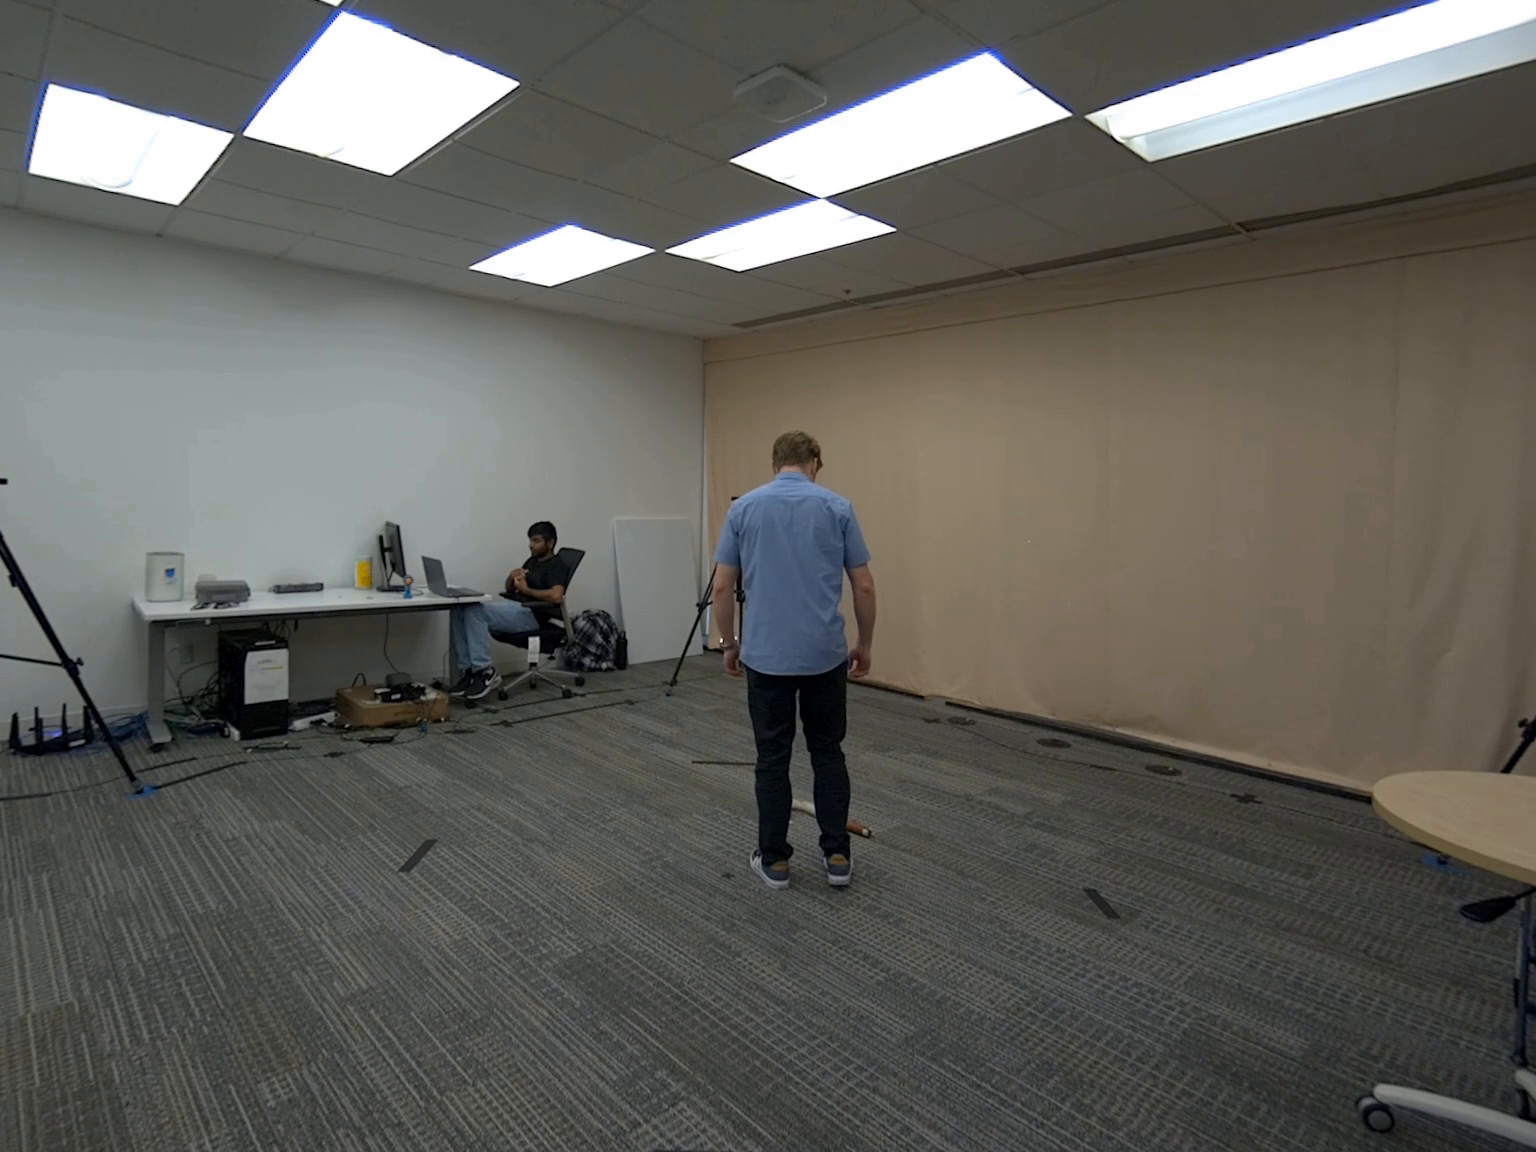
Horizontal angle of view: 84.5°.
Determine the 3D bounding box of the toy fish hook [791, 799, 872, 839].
[{"bbox_3d":[0.201,1.055,3.630,0.519,0.048,0.220,5,13,44],"label":"toy fish hook"}]
